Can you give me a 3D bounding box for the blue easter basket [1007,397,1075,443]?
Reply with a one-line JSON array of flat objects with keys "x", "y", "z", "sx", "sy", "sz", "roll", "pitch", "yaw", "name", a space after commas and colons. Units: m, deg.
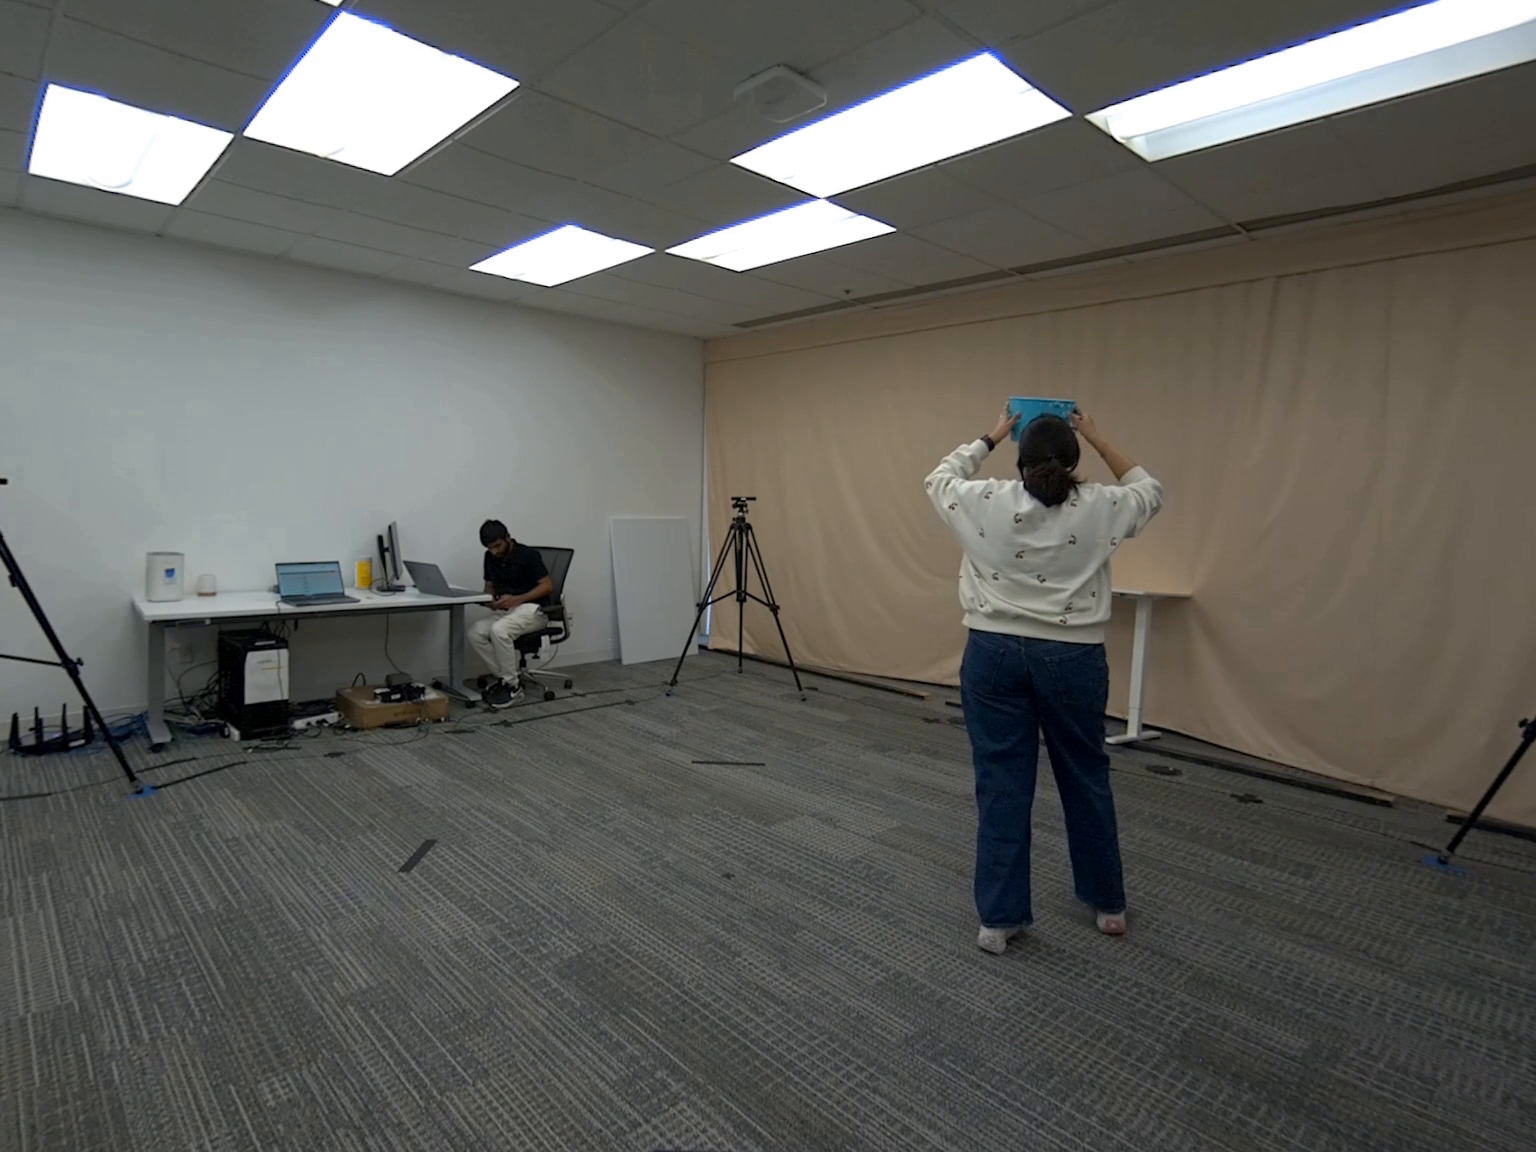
[{"x": 0.967, "y": -0.549, "z": 2.953, "sx": 0.243, "sy": 0.154, "sz": 0.246, "roll": 1, "pitch": 13, "yaw": -2, "name": "blue easter basket"}]
